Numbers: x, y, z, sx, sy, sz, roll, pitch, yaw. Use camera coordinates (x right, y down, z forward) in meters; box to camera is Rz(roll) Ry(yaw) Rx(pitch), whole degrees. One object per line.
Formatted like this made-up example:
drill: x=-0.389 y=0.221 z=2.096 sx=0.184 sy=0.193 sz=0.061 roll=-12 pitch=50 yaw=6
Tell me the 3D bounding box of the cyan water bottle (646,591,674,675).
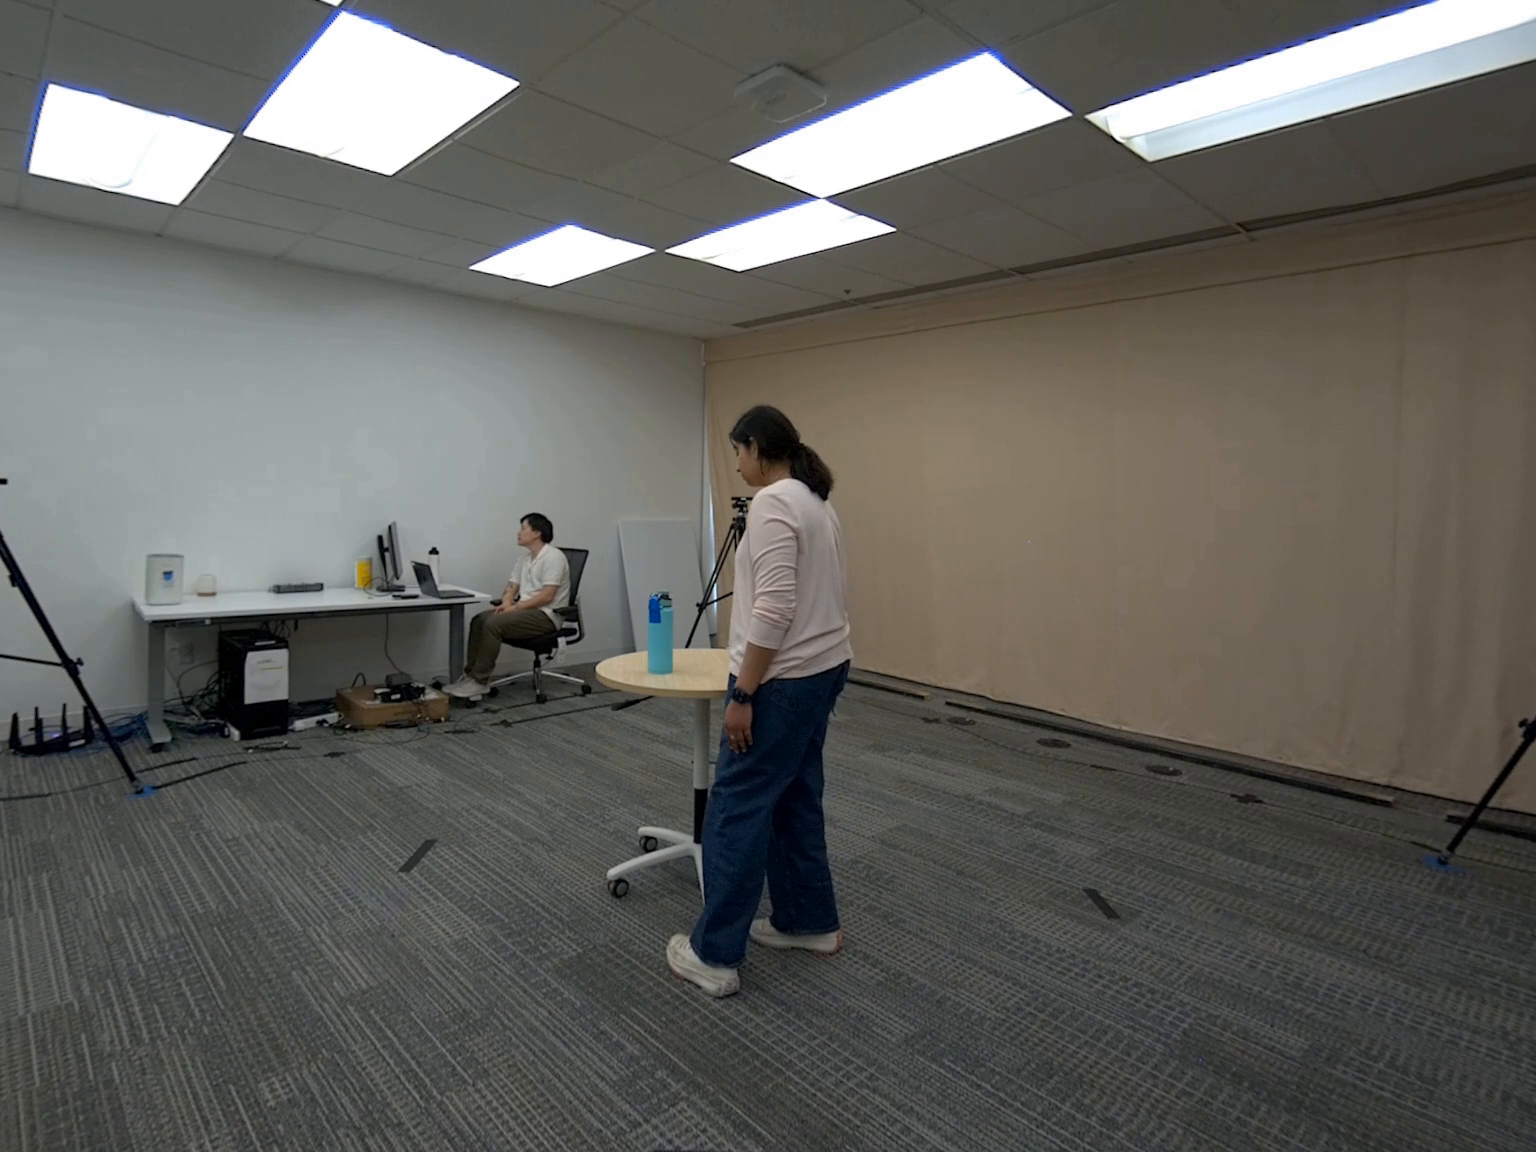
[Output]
cyan water bottle: x=-0.389 y=0.196 z=2.928 sx=0.092 sy=0.283 sz=0.092 roll=1 pitch=3 yaw=-1
